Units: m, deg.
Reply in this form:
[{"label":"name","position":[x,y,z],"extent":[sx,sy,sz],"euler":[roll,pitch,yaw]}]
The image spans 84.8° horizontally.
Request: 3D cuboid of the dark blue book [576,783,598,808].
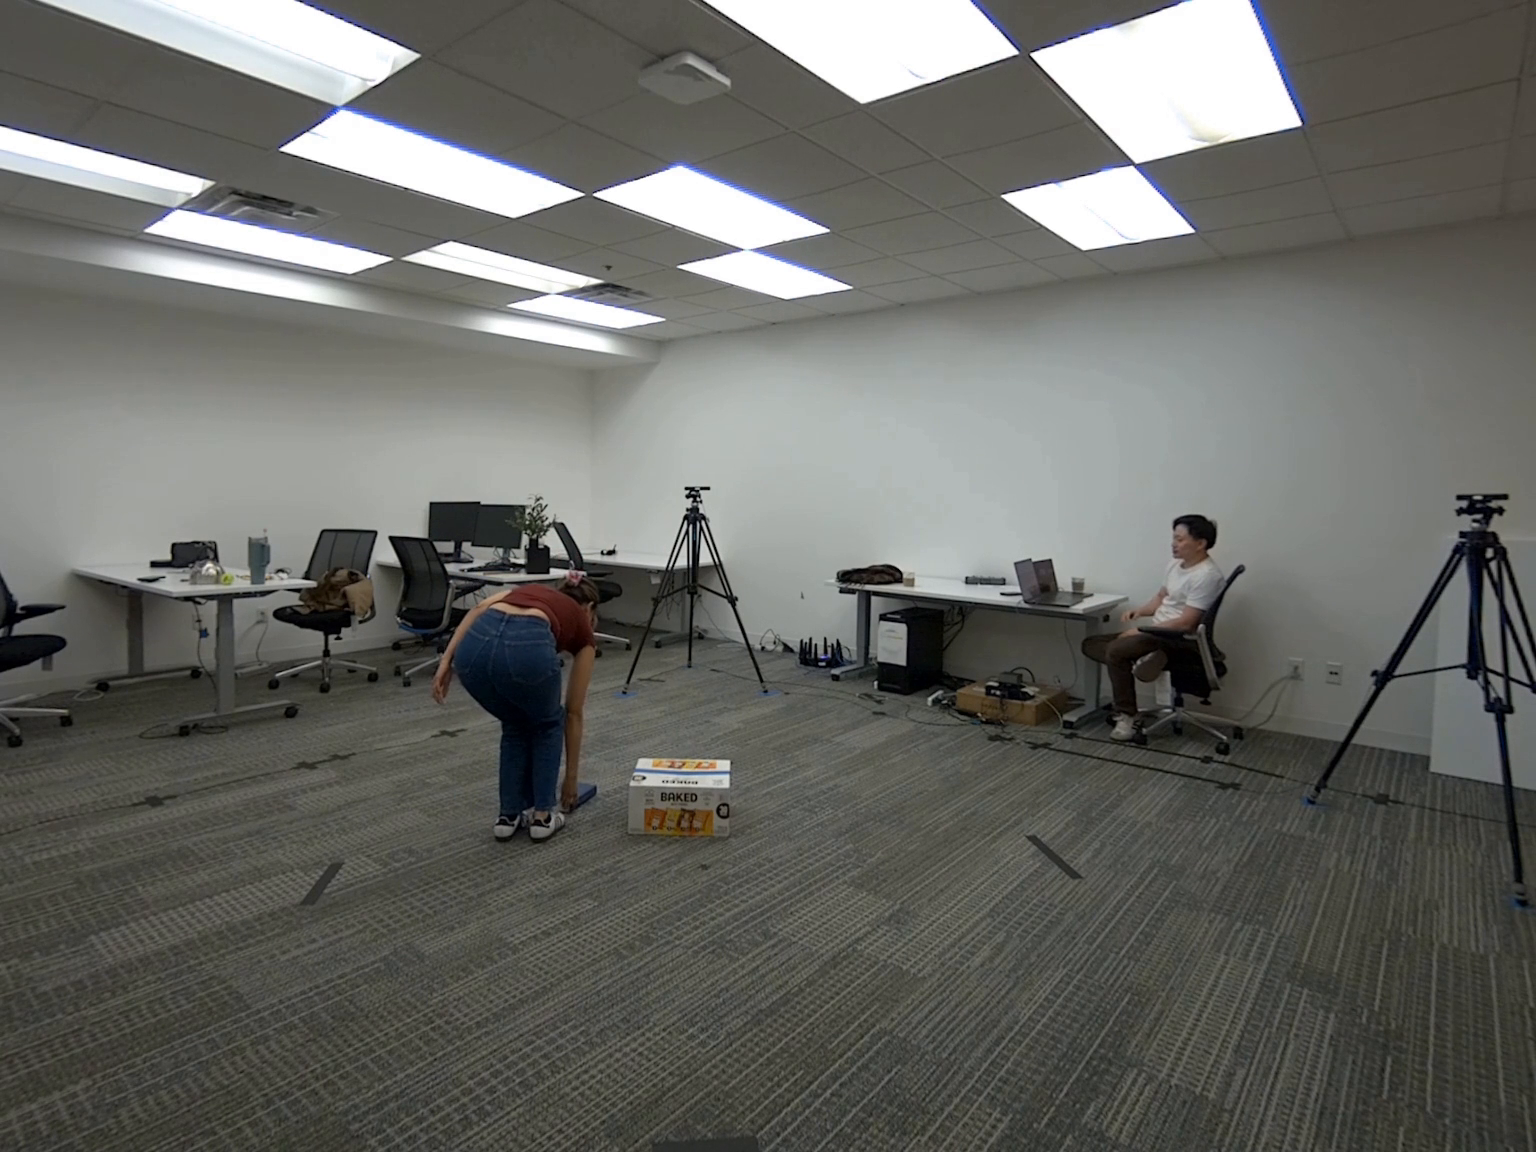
[{"label":"dark blue book","position":[-0.905,0.963,3.755],"extent":[0.167,0.045,0.241],"euler":[1,5,19]}]
